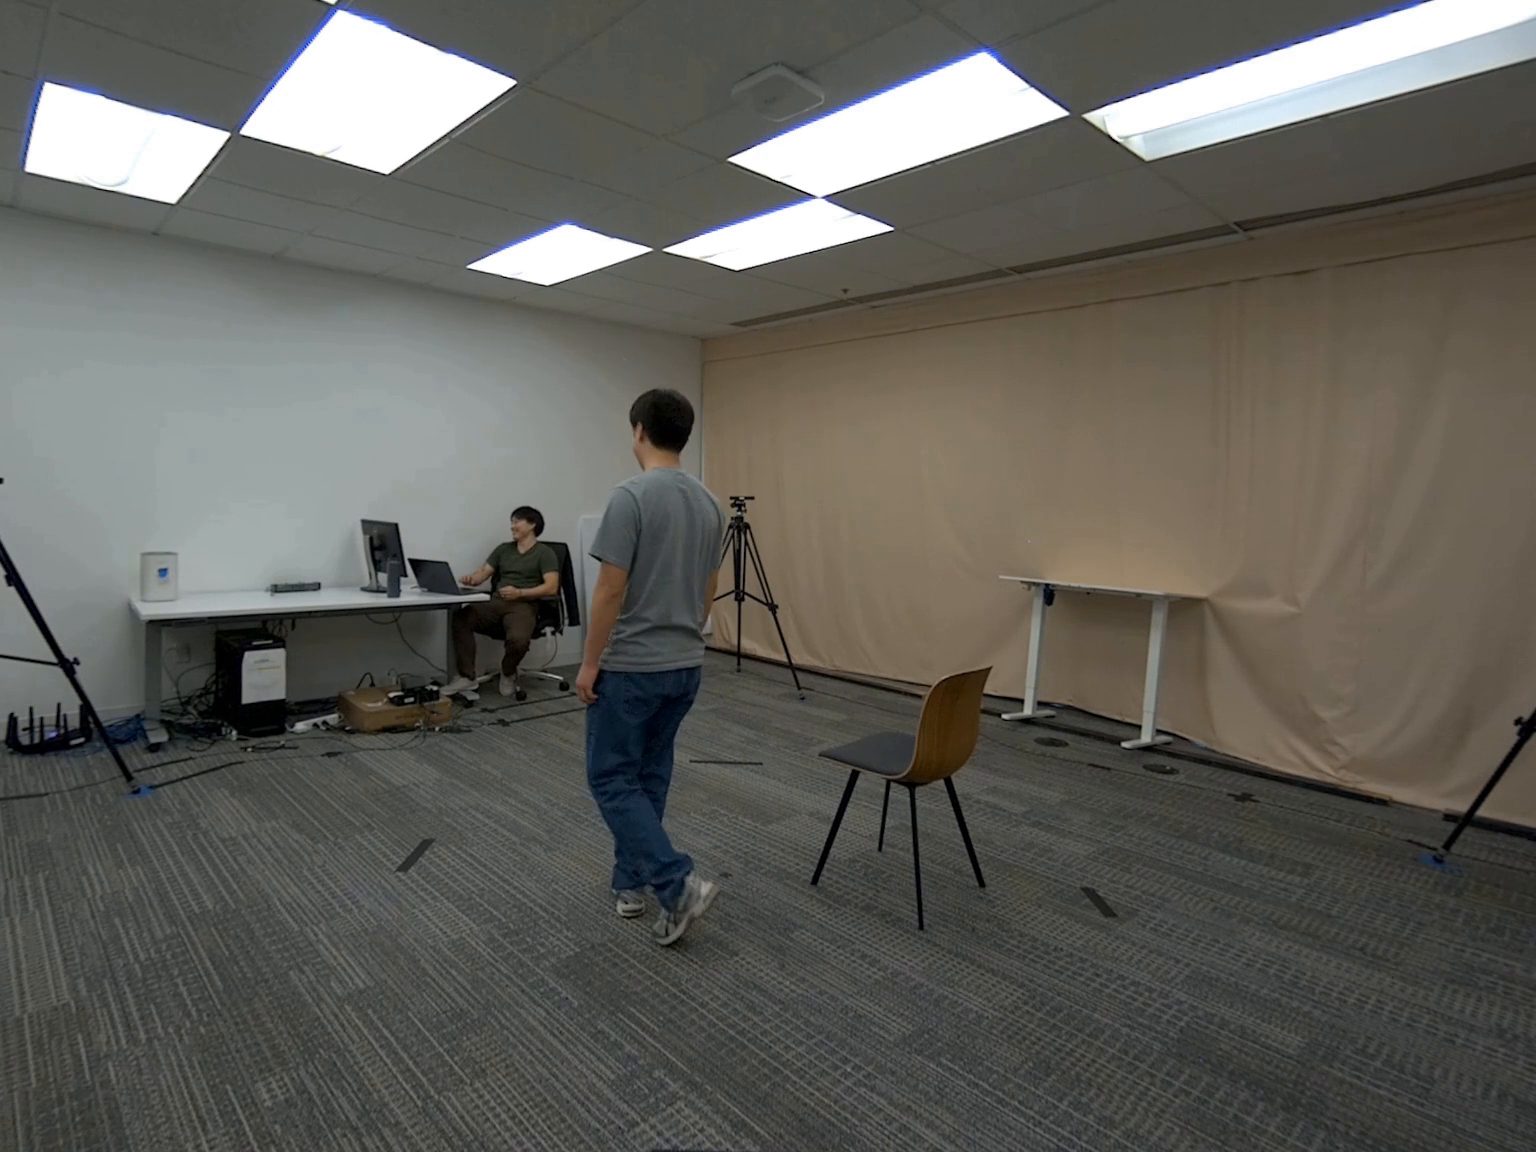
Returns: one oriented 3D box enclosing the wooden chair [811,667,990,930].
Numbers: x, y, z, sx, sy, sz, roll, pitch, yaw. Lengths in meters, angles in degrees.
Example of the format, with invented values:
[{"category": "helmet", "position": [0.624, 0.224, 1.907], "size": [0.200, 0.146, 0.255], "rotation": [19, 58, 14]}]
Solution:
[{"category": "wooden chair", "position": [0.469, 0.697, 3.025], "size": [0.537, 0.873, 0.467], "rotation": [11, 8, 41]}]
